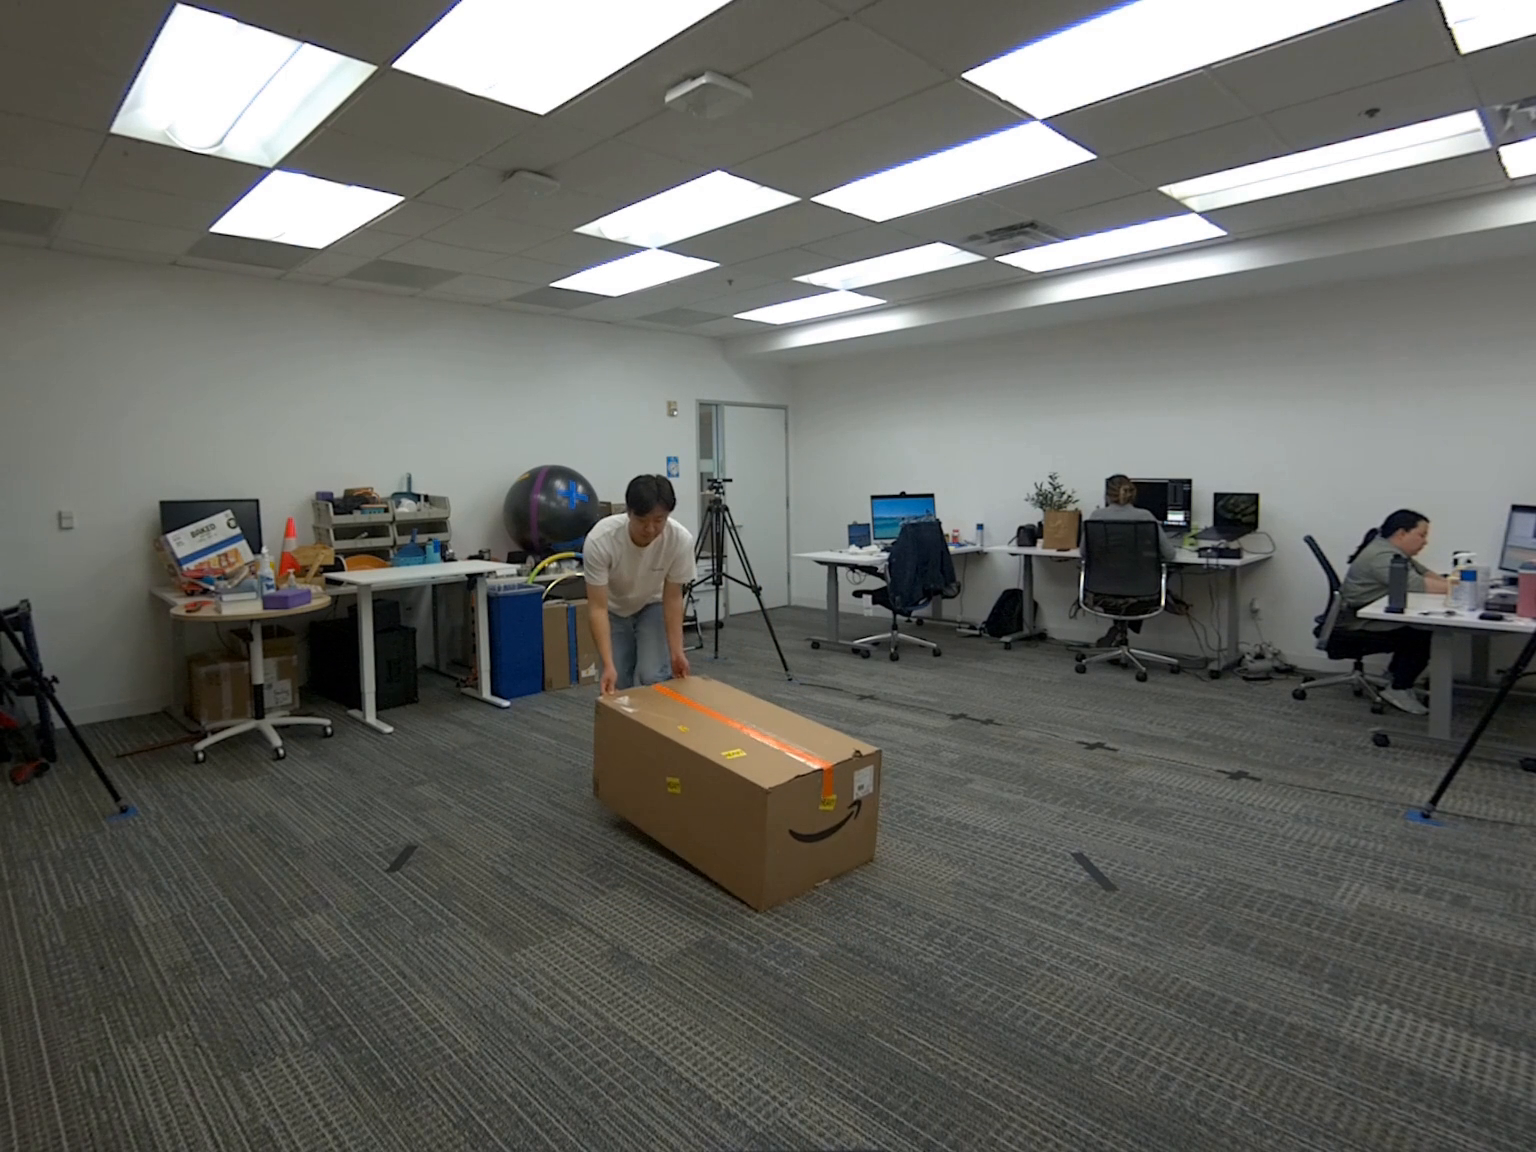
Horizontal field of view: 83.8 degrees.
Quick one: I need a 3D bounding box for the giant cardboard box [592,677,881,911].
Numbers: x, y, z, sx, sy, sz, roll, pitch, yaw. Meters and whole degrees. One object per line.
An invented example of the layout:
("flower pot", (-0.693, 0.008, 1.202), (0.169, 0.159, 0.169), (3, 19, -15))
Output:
("giant cardboard box", (-0.154, 0.764, 3.280), (0.562, 0.423, 1.061), (-6, 13, -42))
